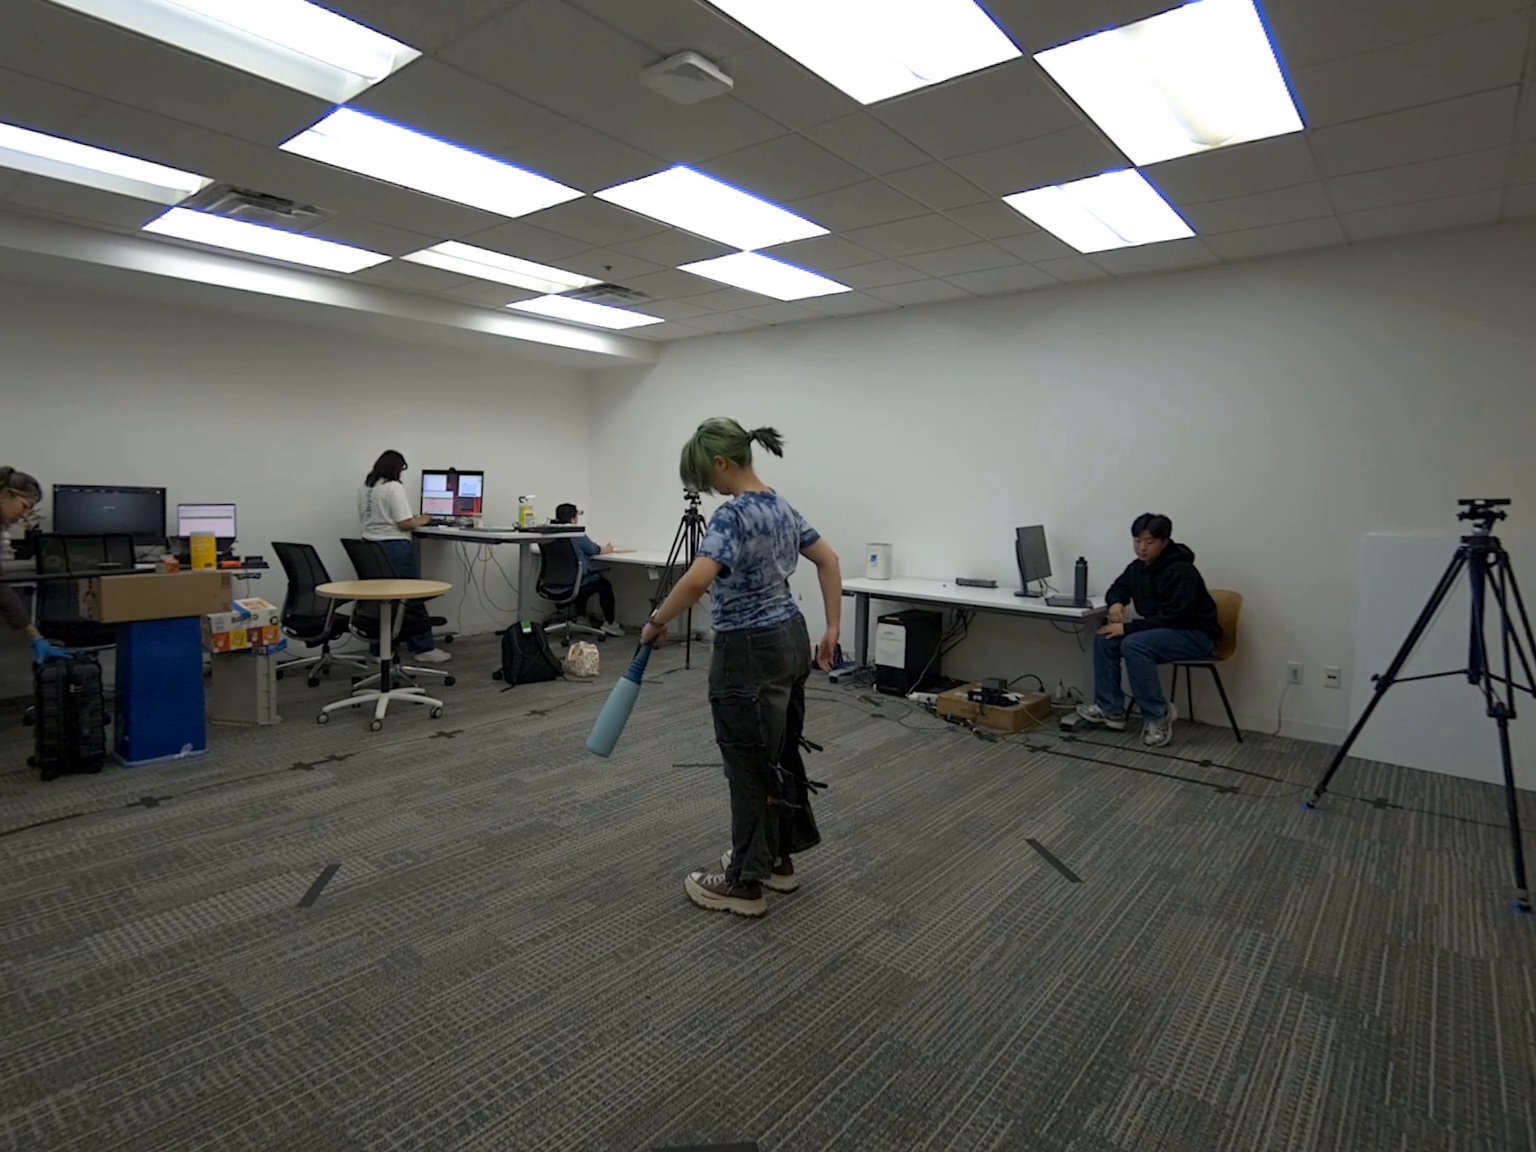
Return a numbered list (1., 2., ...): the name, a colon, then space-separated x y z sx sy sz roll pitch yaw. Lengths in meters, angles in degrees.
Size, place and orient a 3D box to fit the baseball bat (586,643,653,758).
1. baseball bat: -0.429 0.322 2.739 0.090 0.546 0.088 25 -14 4
